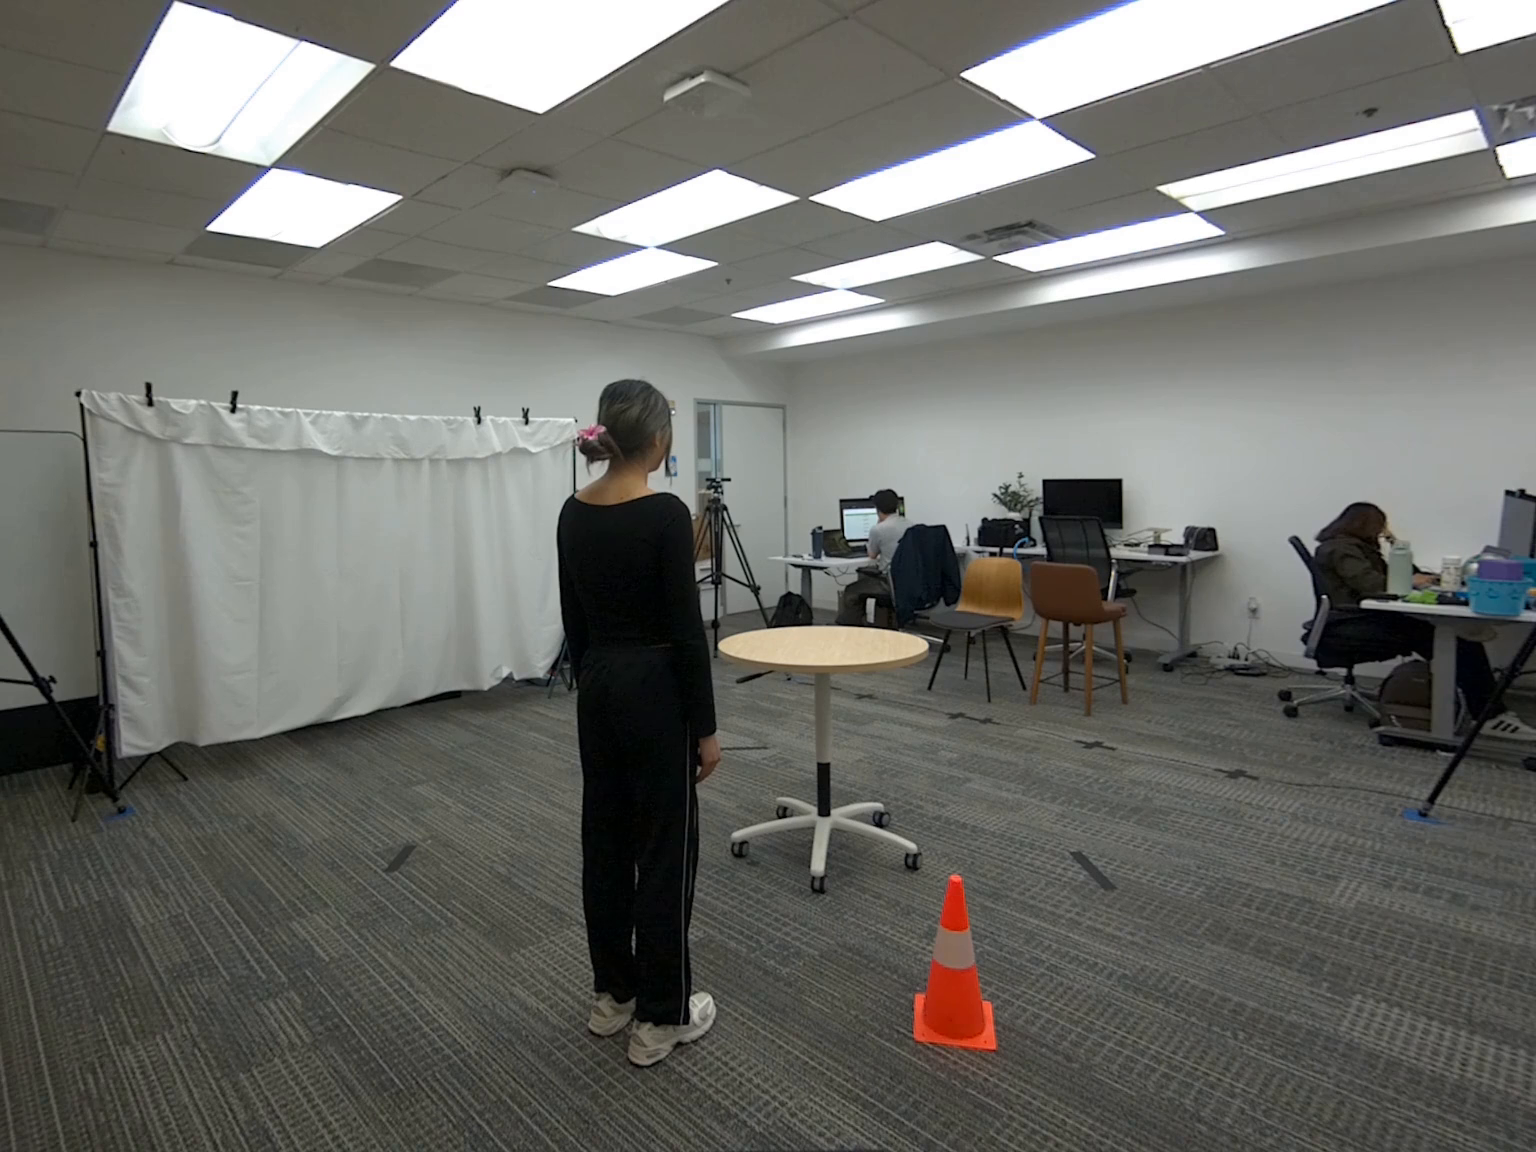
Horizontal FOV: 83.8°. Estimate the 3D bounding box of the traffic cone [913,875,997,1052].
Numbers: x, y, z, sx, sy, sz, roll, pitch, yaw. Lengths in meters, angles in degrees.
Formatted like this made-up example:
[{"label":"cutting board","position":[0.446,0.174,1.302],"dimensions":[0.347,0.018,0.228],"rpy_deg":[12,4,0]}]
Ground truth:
[{"label":"traffic cone","position":[0.481,0.955,2.174],"dimensions":[0.205,0.382,0.204],"rpy_deg":[-2,4,8]}]
